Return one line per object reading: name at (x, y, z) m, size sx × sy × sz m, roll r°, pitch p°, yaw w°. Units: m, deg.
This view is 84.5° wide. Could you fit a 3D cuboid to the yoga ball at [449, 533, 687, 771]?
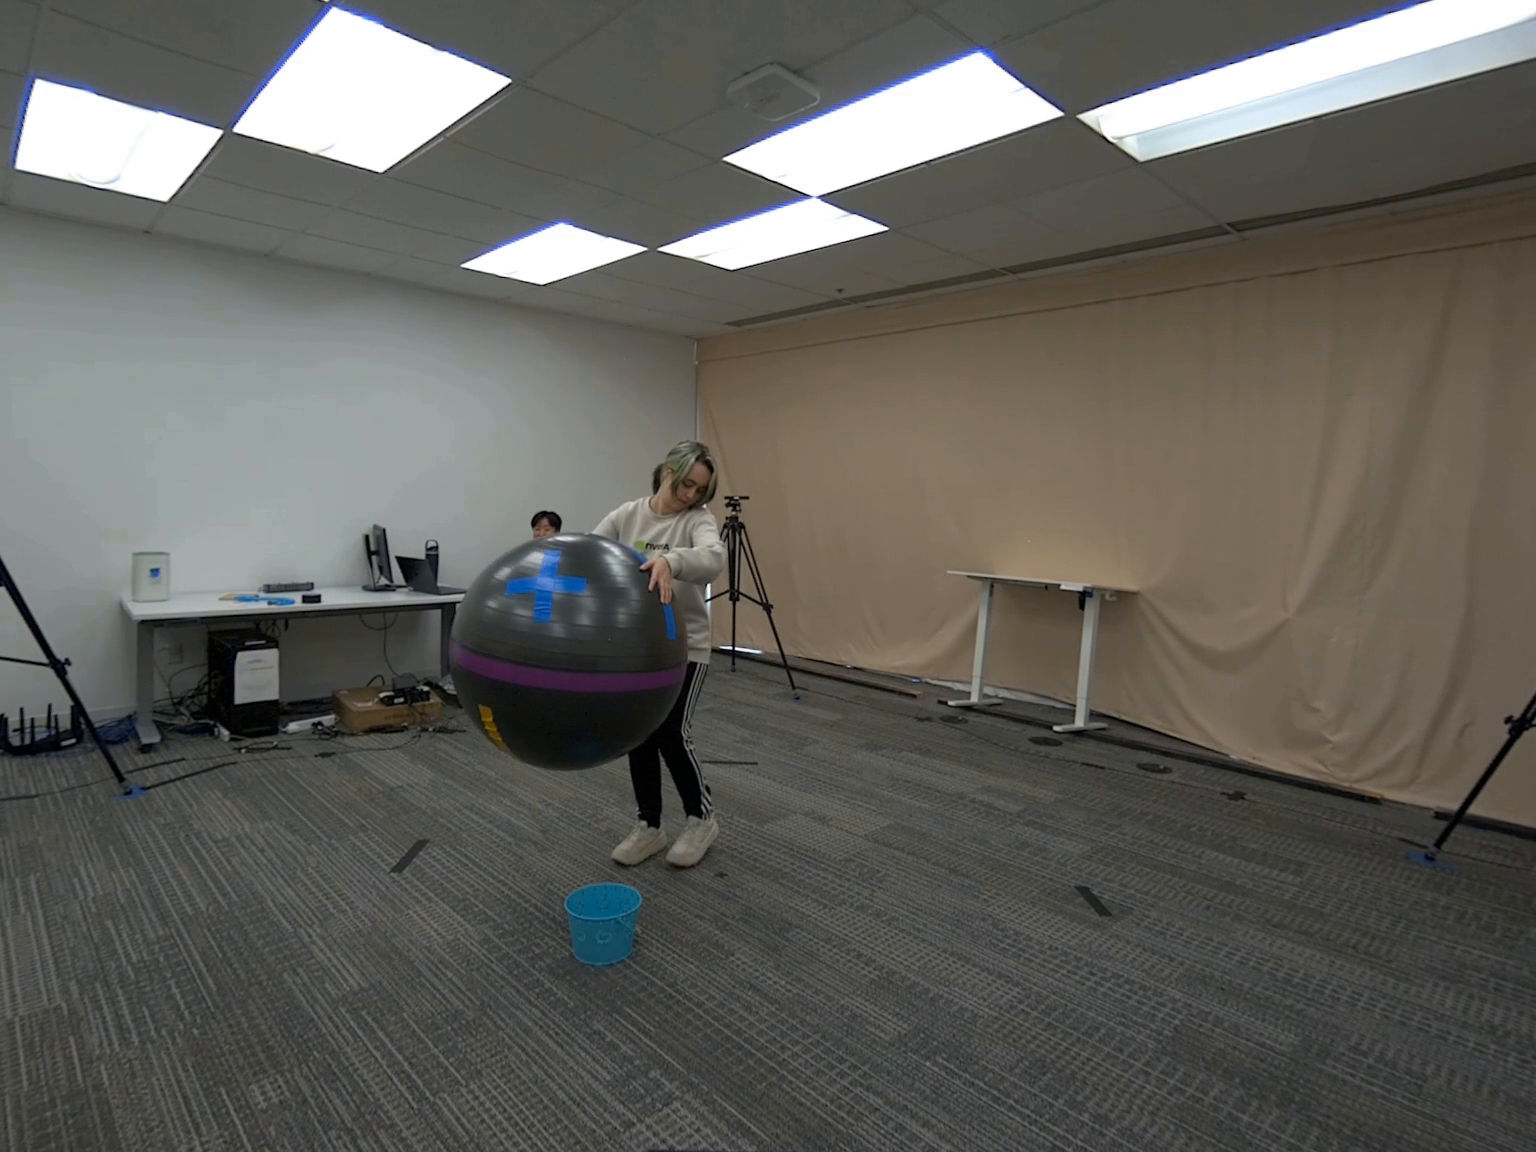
yoga ball at (-0.646, 0.248, 2.731) m, size 0.757 × 0.756 × 0.761 m, roll 1°, pitch 4°, yaw -1°
